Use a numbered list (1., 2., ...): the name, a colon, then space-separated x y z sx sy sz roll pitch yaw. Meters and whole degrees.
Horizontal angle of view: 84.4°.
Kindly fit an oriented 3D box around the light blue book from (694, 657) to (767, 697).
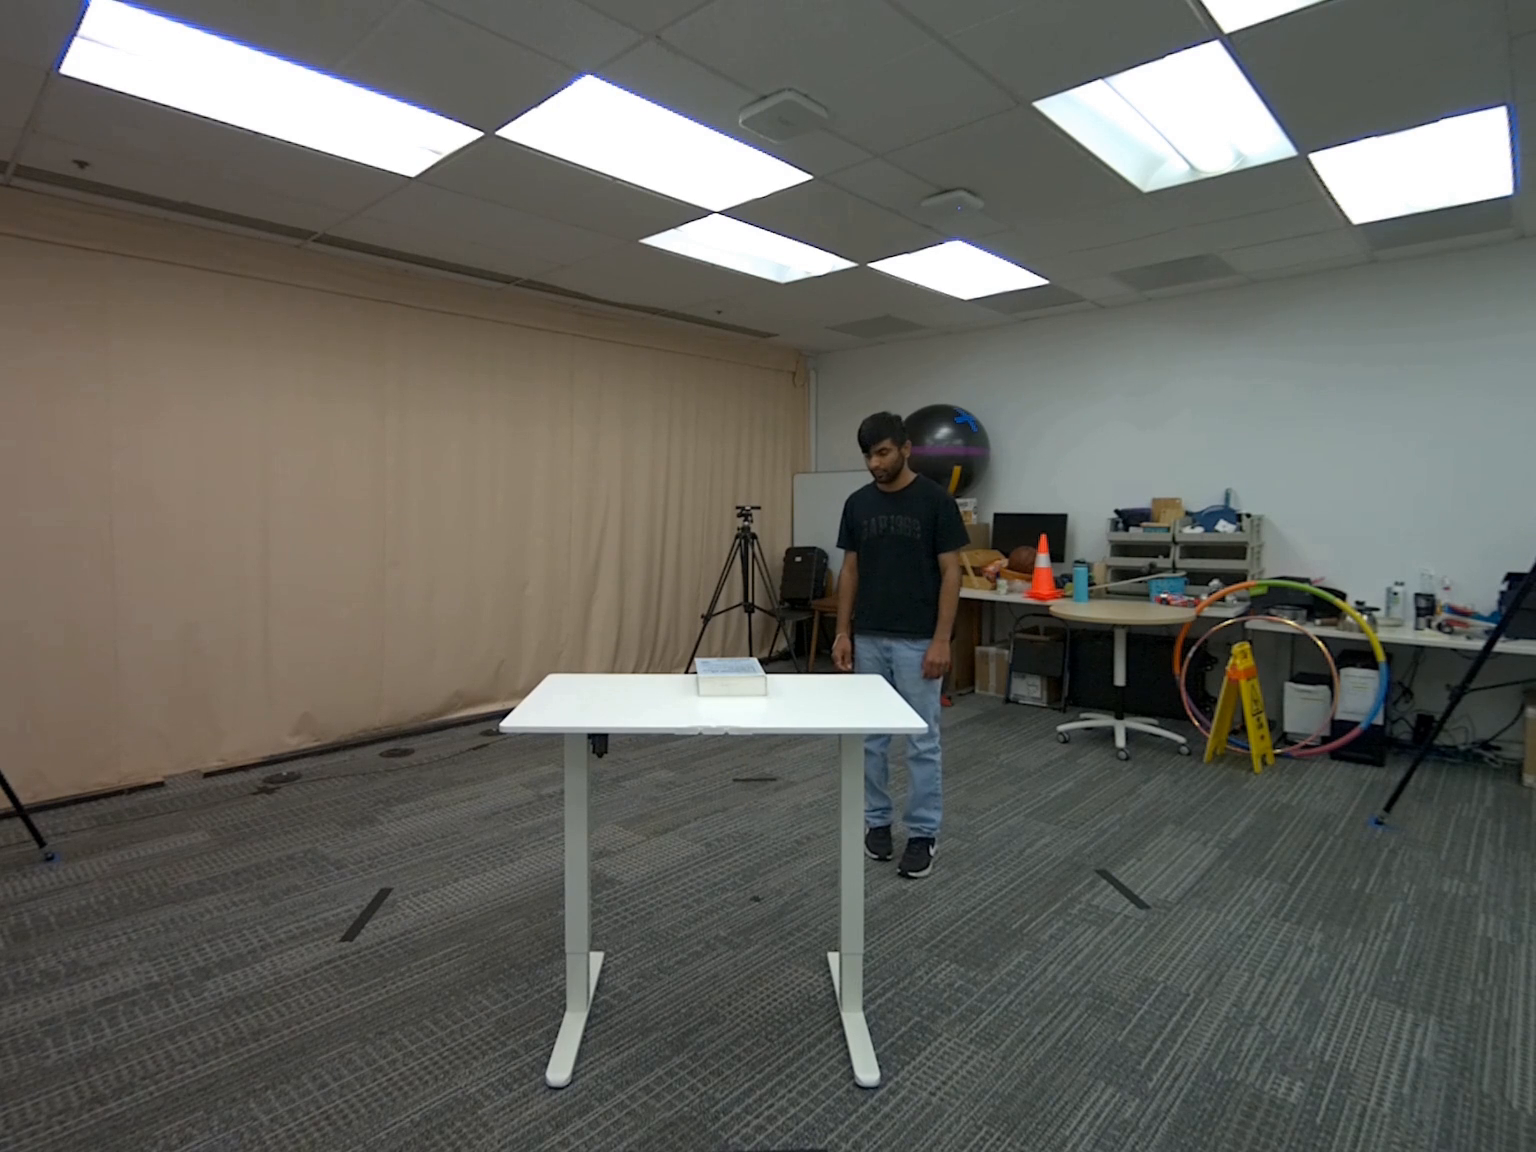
1. light blue book: -0.108 0.283 2.392 0.191 0.059 0.263 0 5 -5
